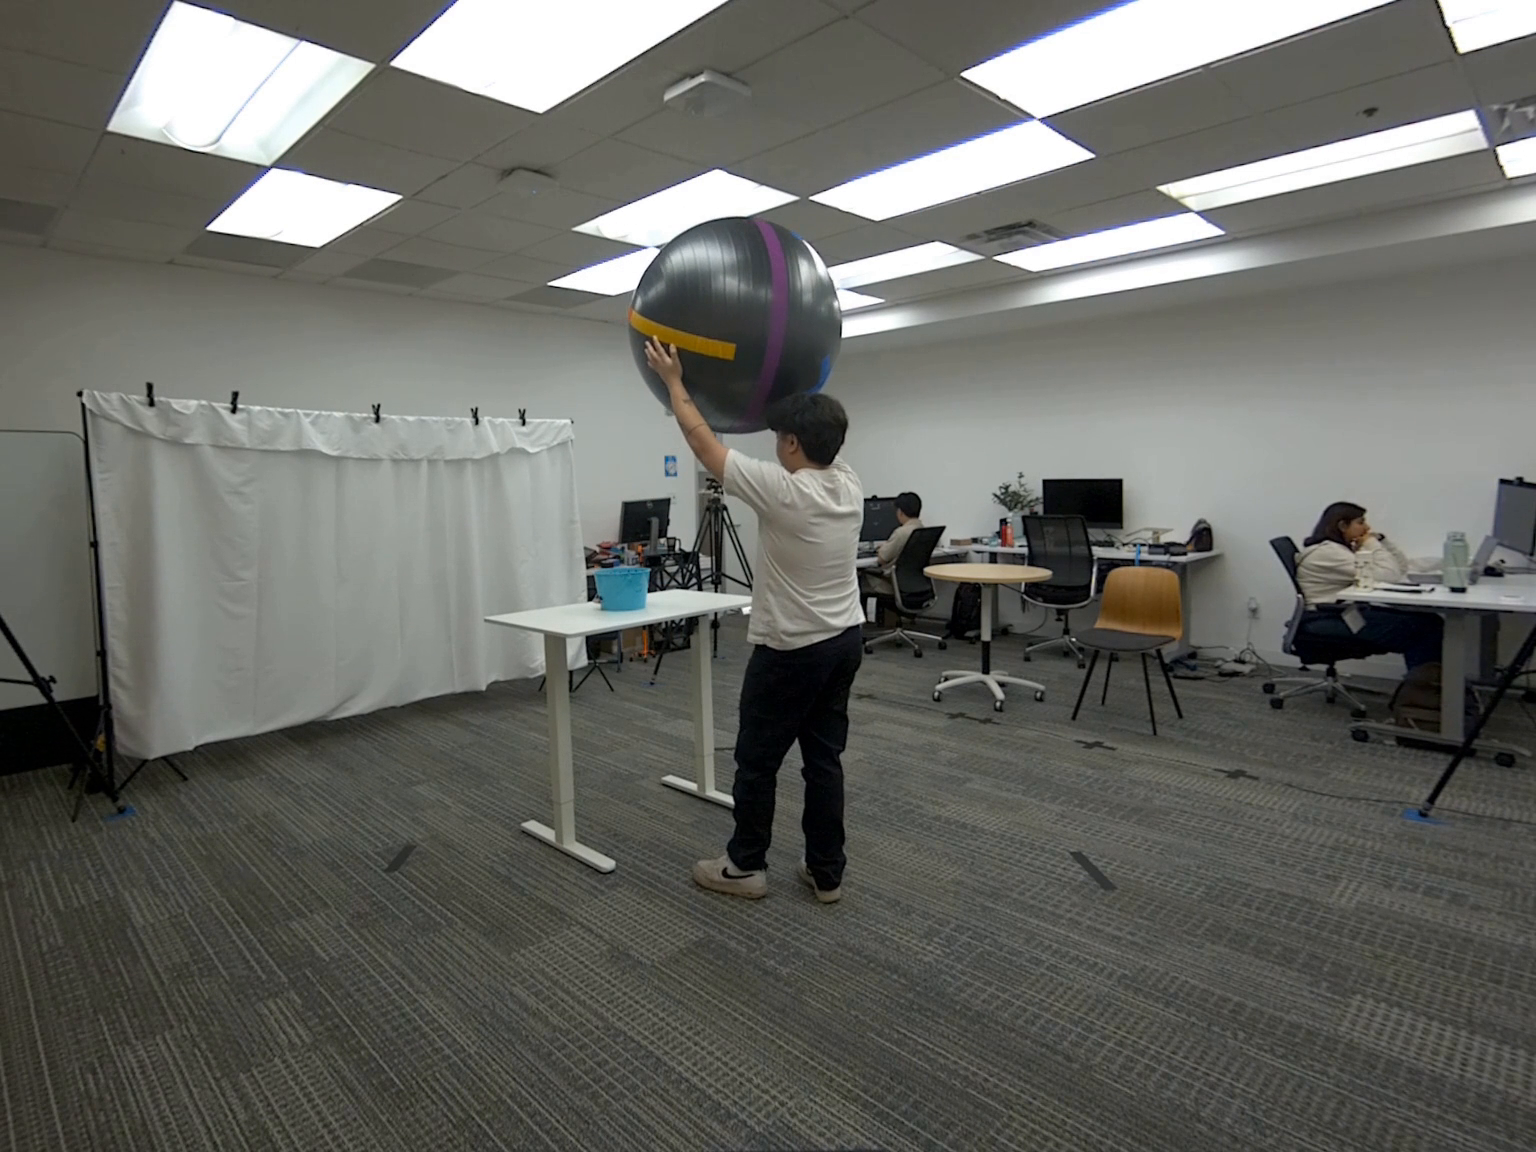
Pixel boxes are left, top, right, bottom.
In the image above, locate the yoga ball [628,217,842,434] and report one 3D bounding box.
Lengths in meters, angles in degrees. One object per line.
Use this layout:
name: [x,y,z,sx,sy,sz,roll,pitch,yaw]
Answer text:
yoga ball: [-0.118,-0.886,3.060,0.757,0.755,0.762,-1,5,-2]
